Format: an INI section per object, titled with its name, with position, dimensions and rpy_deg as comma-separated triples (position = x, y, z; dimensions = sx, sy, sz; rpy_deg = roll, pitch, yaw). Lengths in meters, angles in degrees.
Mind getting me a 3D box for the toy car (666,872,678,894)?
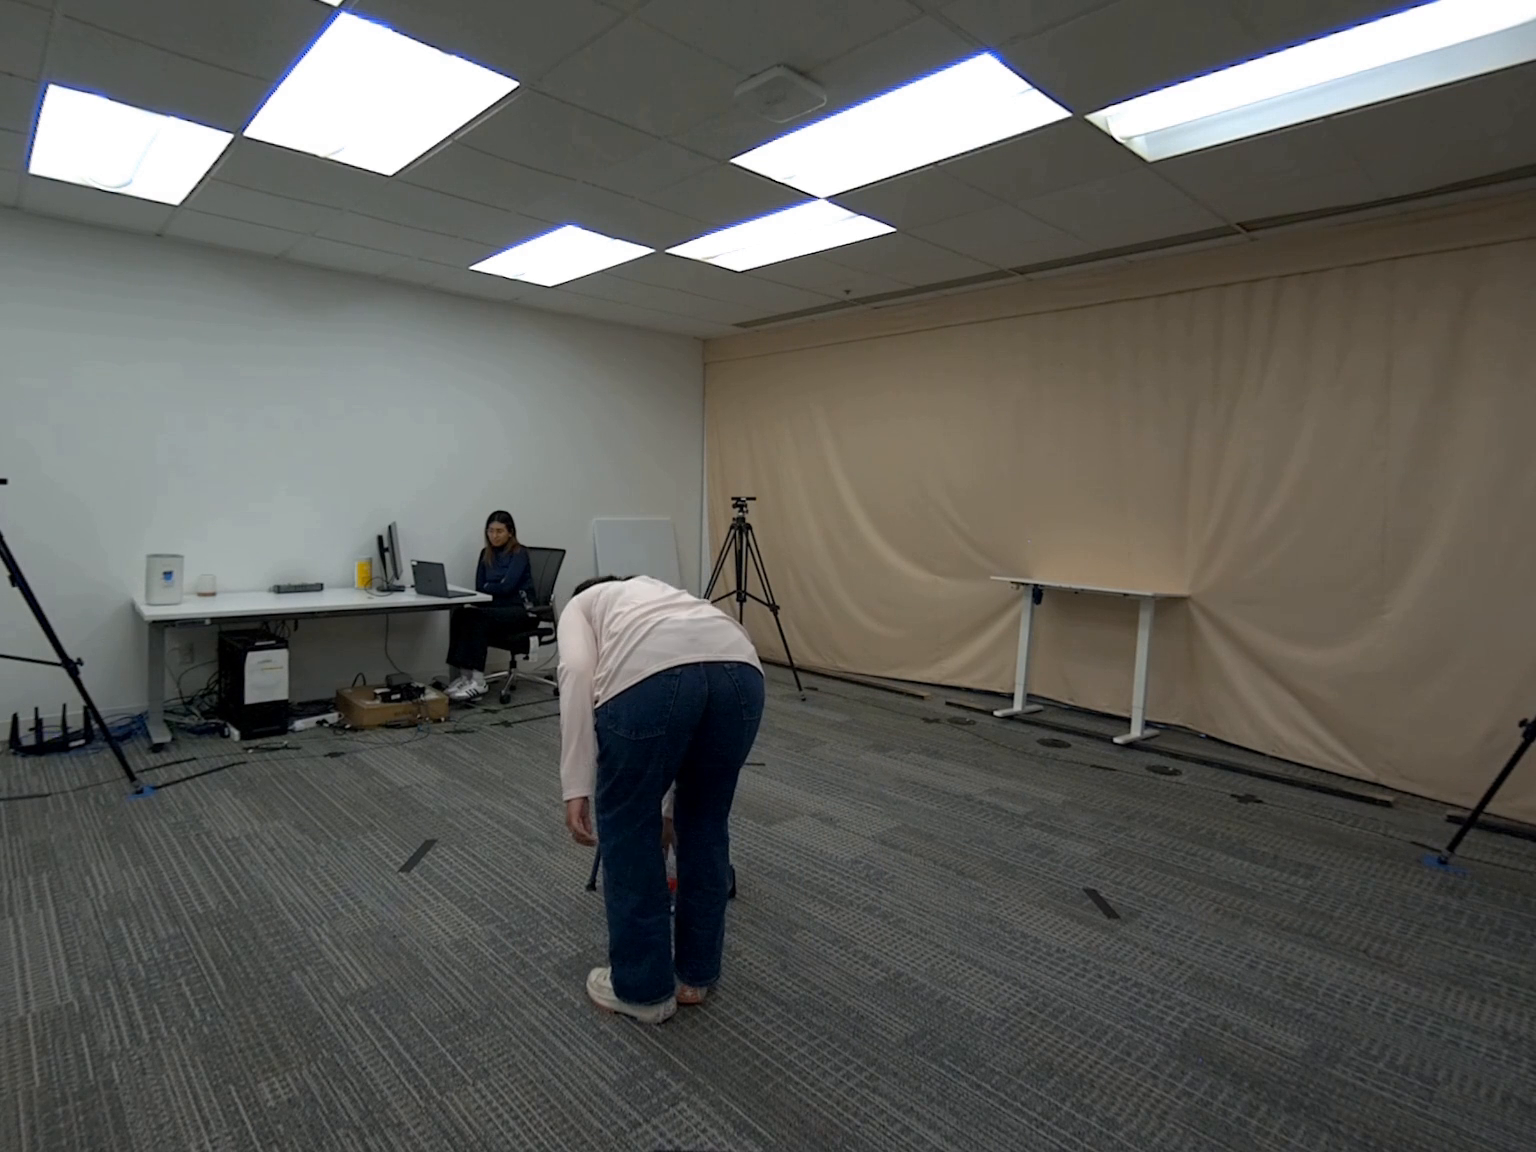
[toy car]
position = -0.426, 1.090, 2.892
dimensions = 0.250, 0.082, 0.134
rpy_deg = -16, 15, -40
